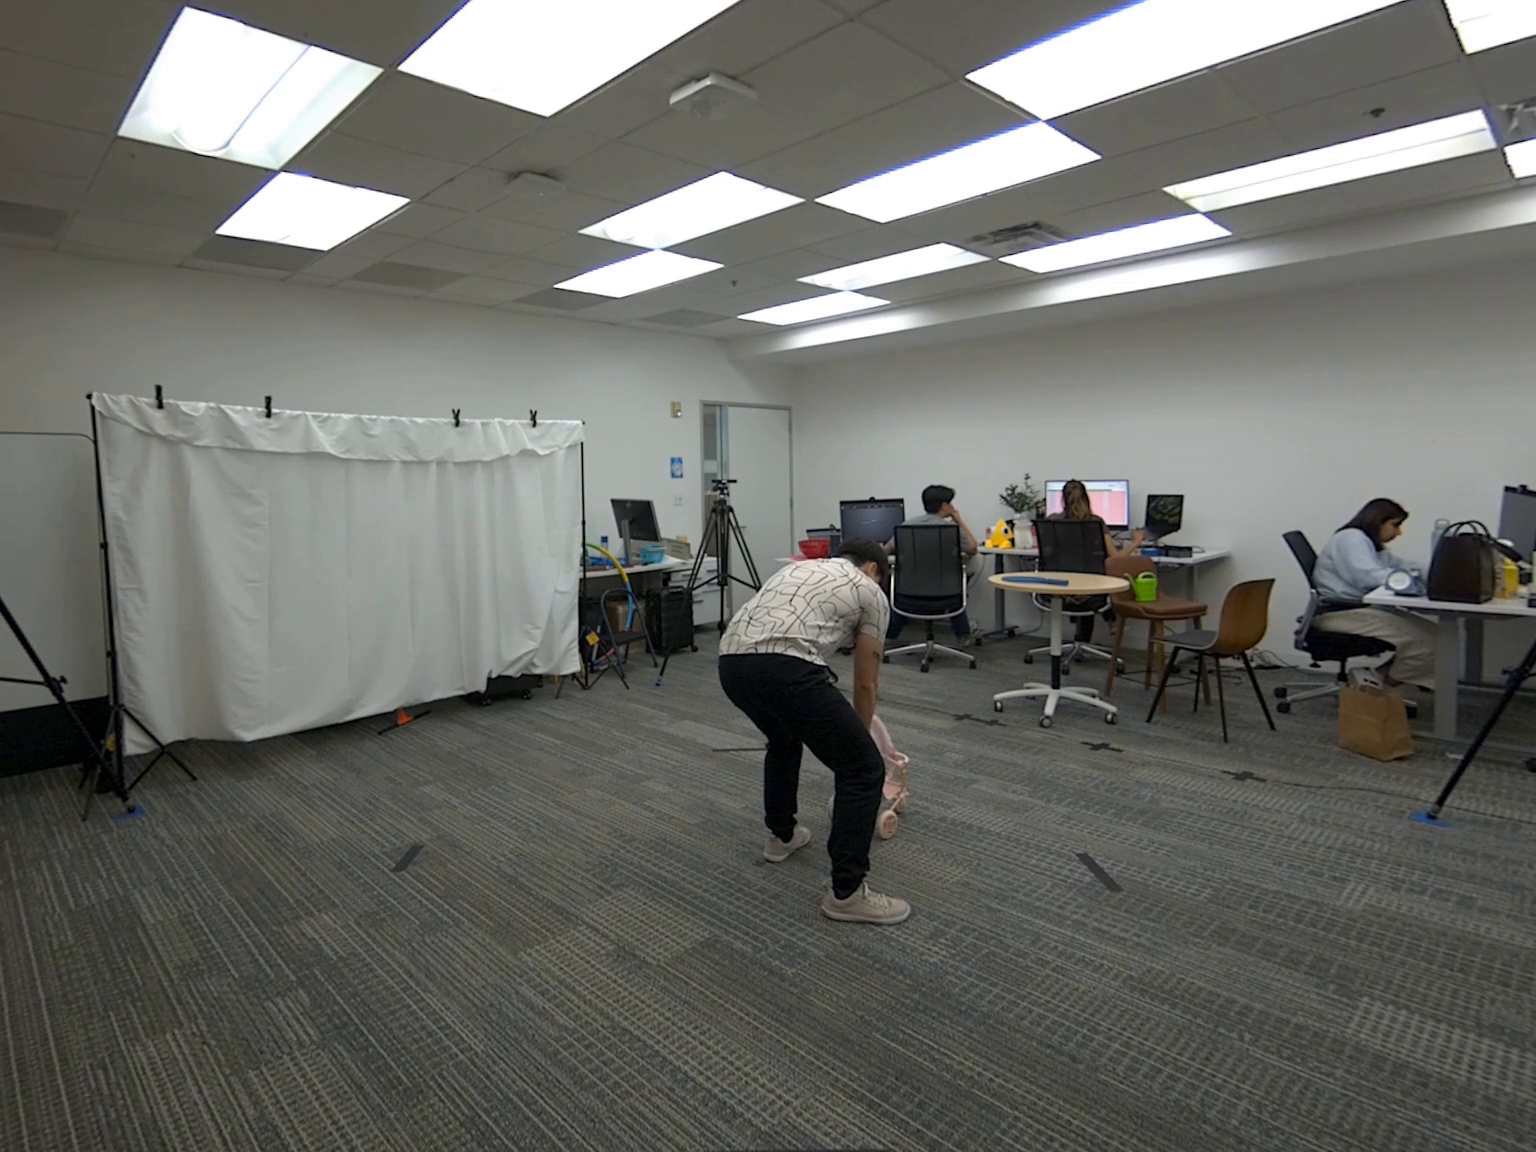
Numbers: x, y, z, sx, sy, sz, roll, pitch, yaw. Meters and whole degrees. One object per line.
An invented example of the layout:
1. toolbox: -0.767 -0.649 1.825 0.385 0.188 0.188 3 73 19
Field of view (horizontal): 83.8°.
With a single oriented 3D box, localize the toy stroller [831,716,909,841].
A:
1. toy stroller: 0.415 0.778 3.427 0.336 0.526 0.290 -25 18 -36
